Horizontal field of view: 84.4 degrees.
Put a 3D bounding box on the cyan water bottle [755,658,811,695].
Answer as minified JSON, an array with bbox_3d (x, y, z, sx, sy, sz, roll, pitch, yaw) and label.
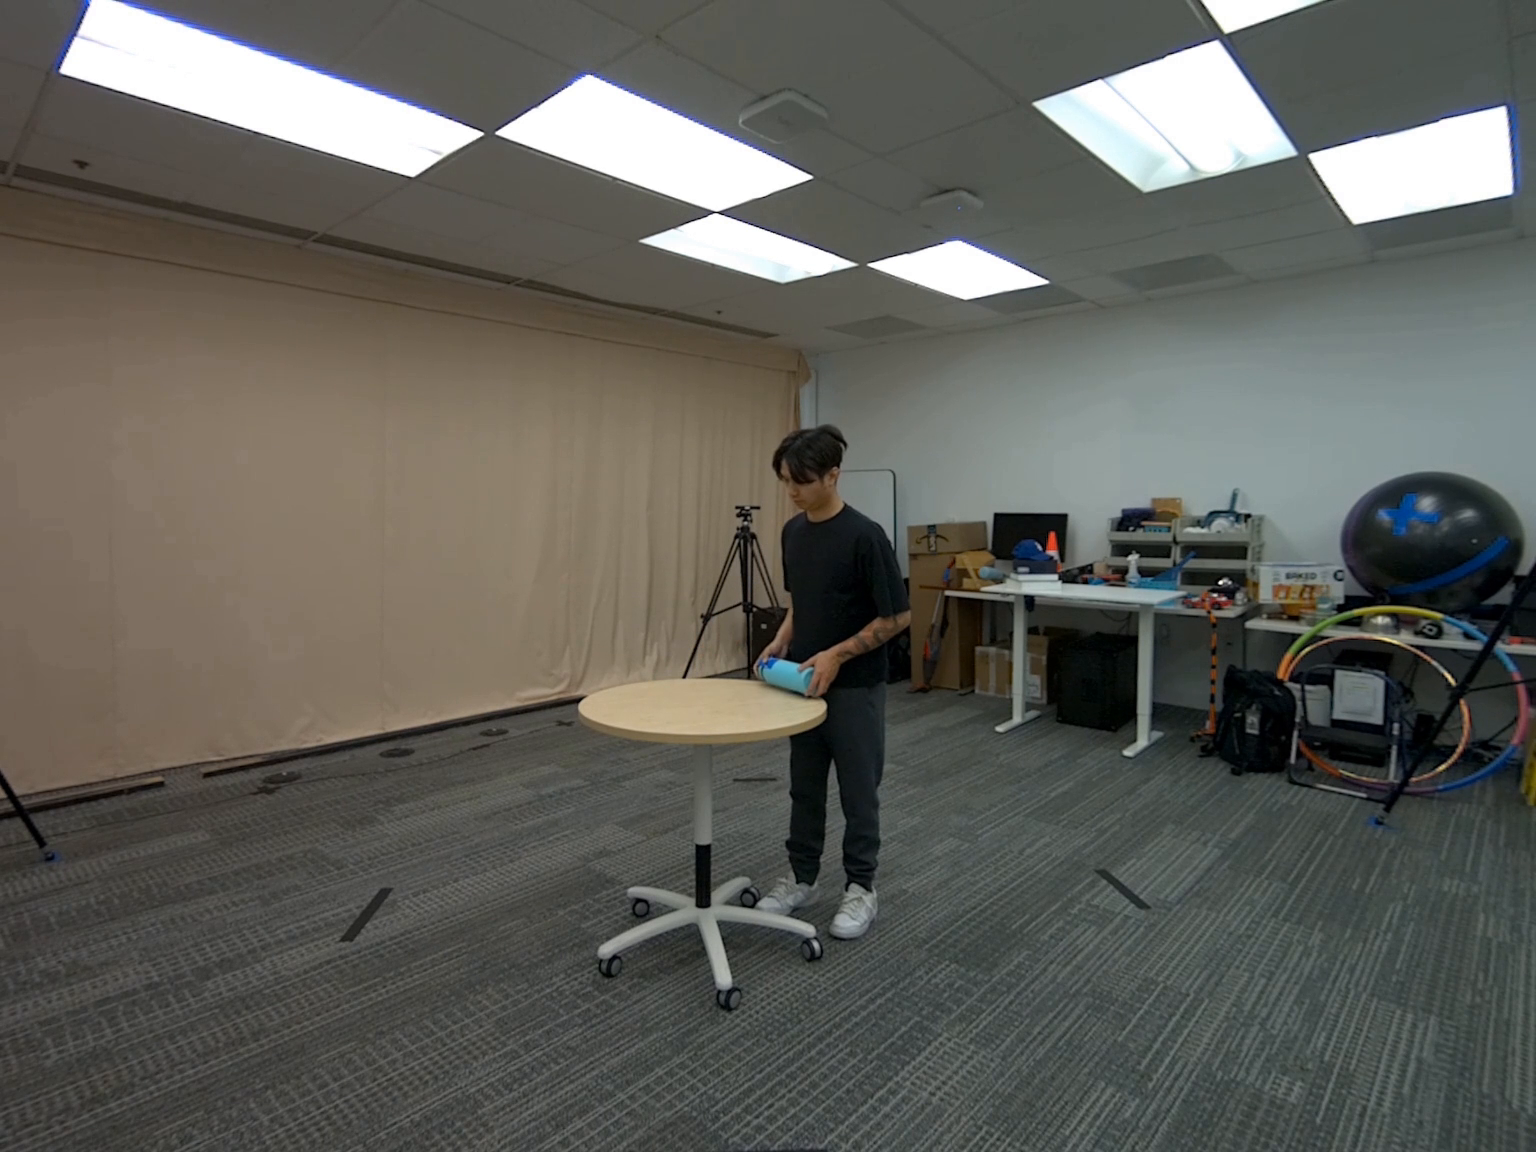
[{"bbox_3d":[0.054,0.327,2.785,0.090,0.092,0.292,-2,5,-34],"label":"cyan water bottle"}]
